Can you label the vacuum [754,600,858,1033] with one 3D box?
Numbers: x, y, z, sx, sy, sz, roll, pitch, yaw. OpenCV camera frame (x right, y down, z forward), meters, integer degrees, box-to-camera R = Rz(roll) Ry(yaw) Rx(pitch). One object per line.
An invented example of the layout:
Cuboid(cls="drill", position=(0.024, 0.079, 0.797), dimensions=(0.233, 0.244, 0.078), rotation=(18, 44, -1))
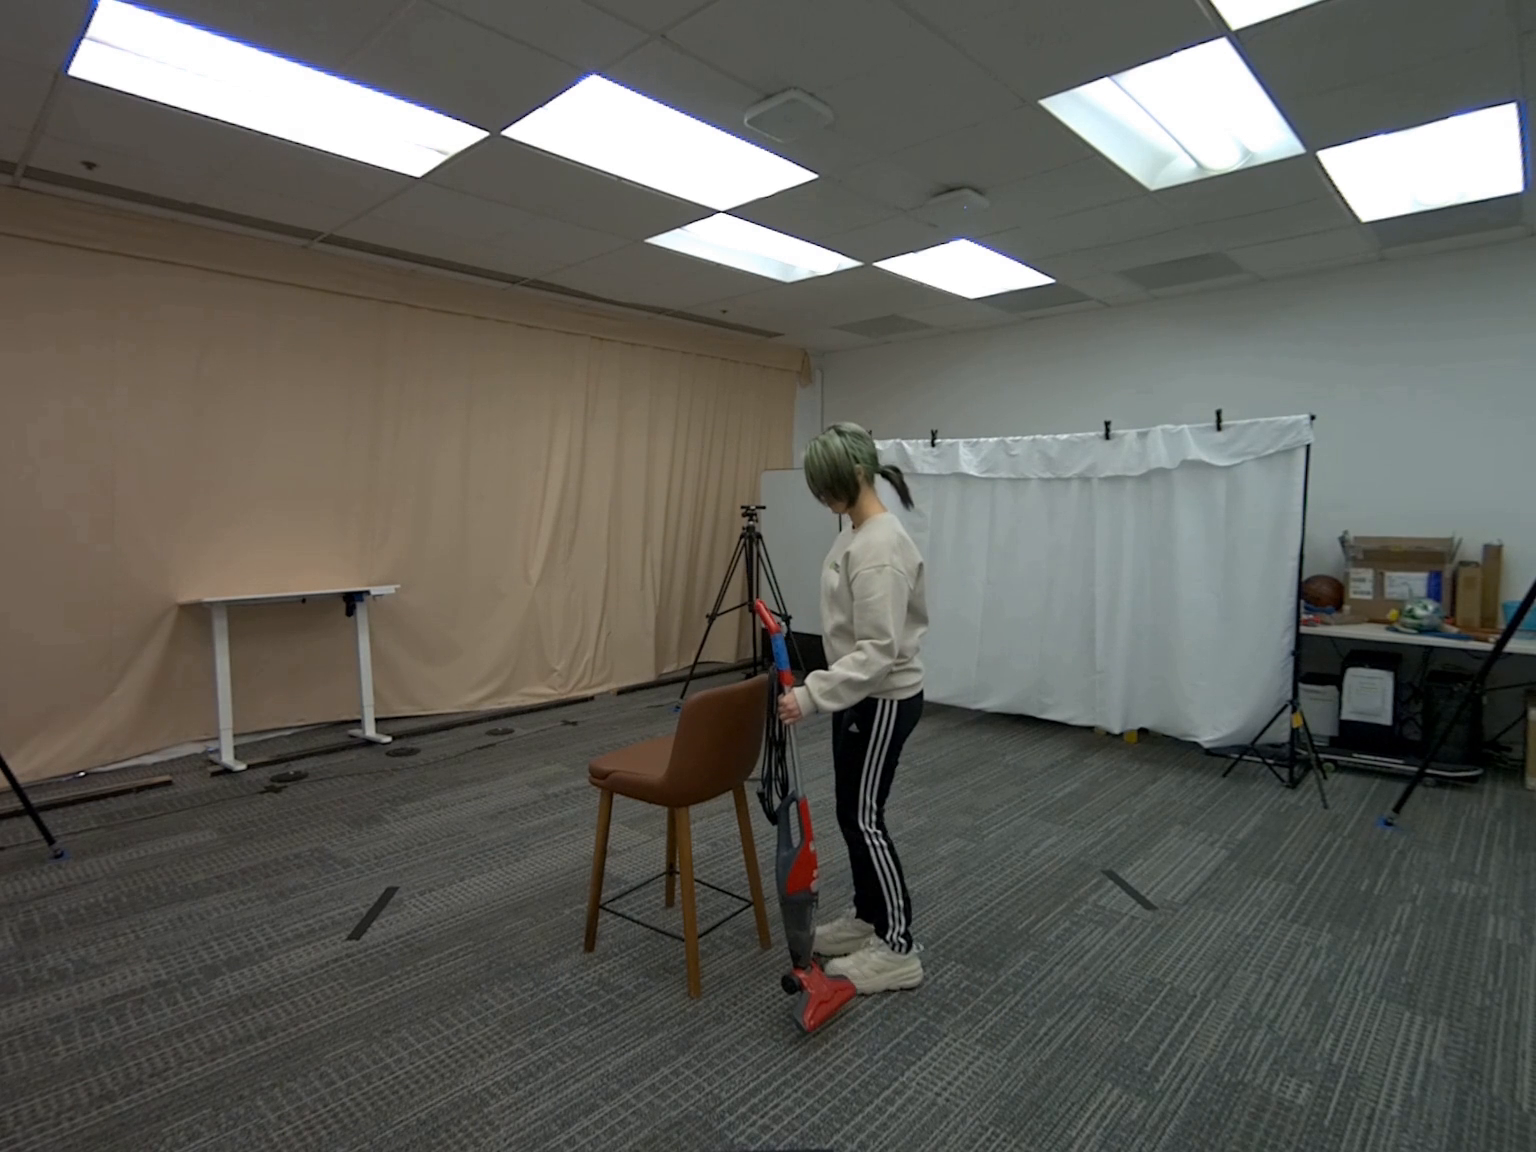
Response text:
Cuboid(cls="vacuum", position=(0.068, 0.616, 2.288), dimensions=(0.148, 1.051, 0.245), rotation=(-9, -3, 34))
